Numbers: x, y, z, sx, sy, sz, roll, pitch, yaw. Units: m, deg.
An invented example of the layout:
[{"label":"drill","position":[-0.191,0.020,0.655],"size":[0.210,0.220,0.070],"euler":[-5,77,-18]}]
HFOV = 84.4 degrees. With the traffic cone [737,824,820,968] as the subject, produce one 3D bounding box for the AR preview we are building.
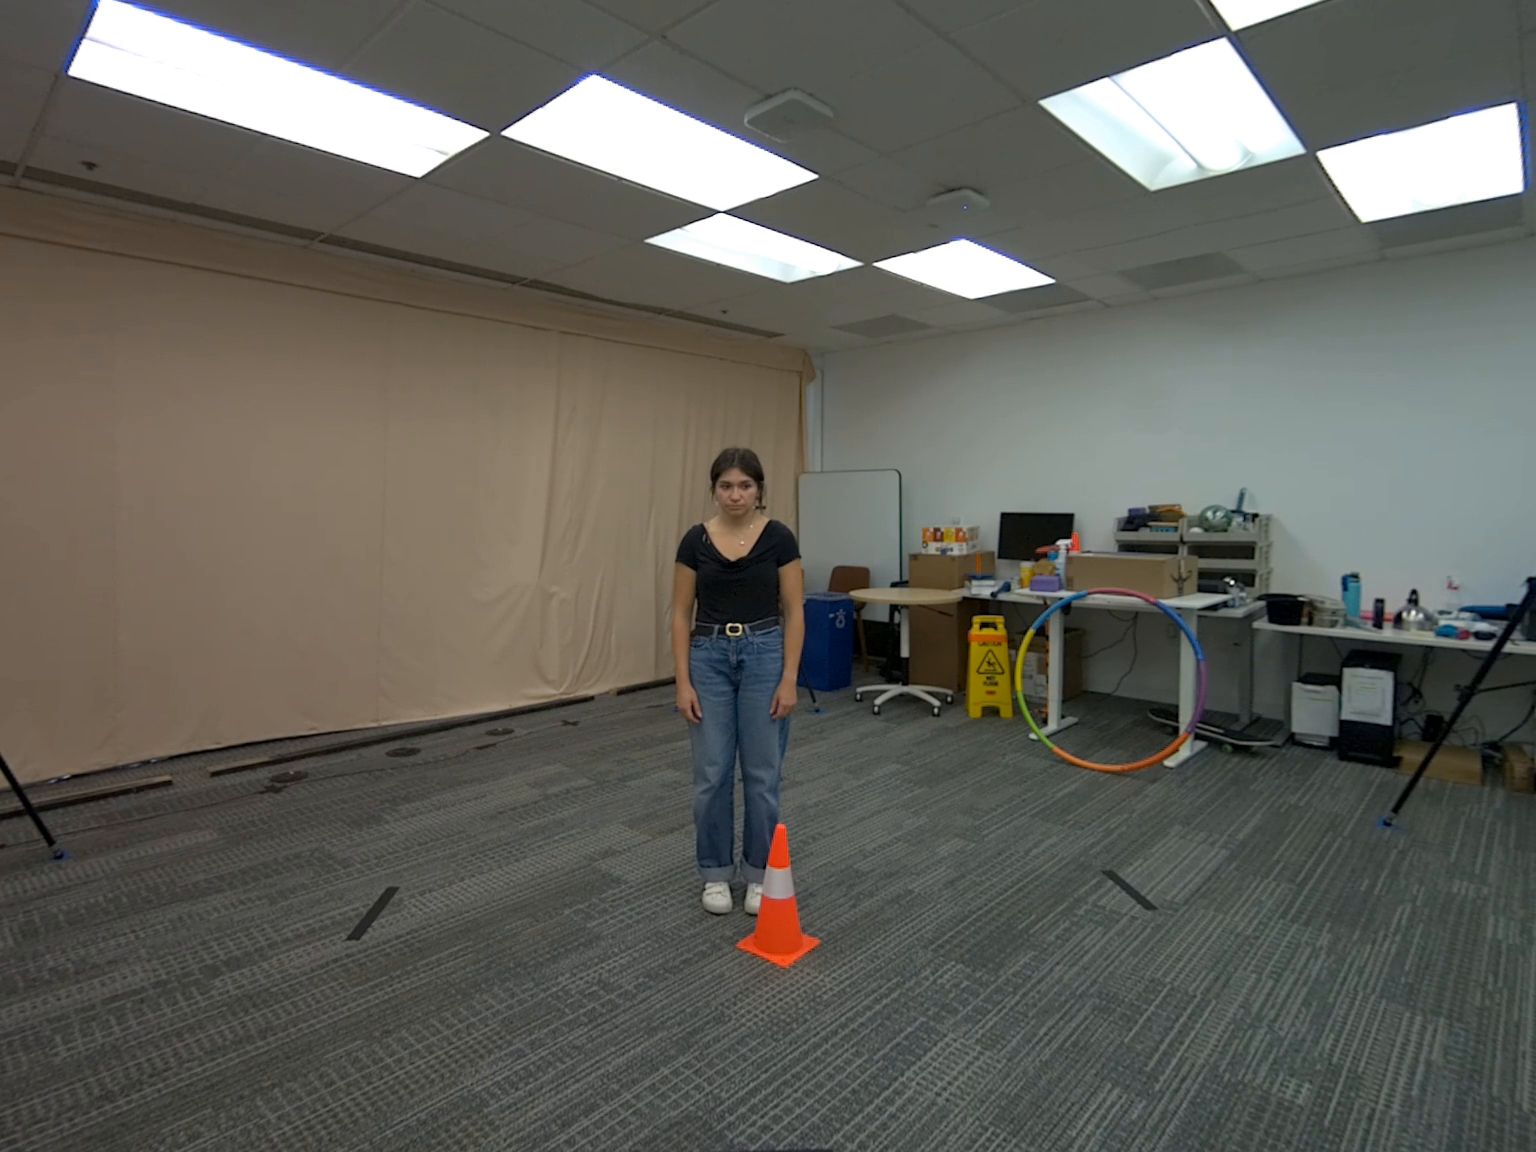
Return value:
[{"label":"traffic cone","position":[0.047,0.983,2.676],"size":[0.210,0.383,0.198],"euler":[4,3,41]}]
